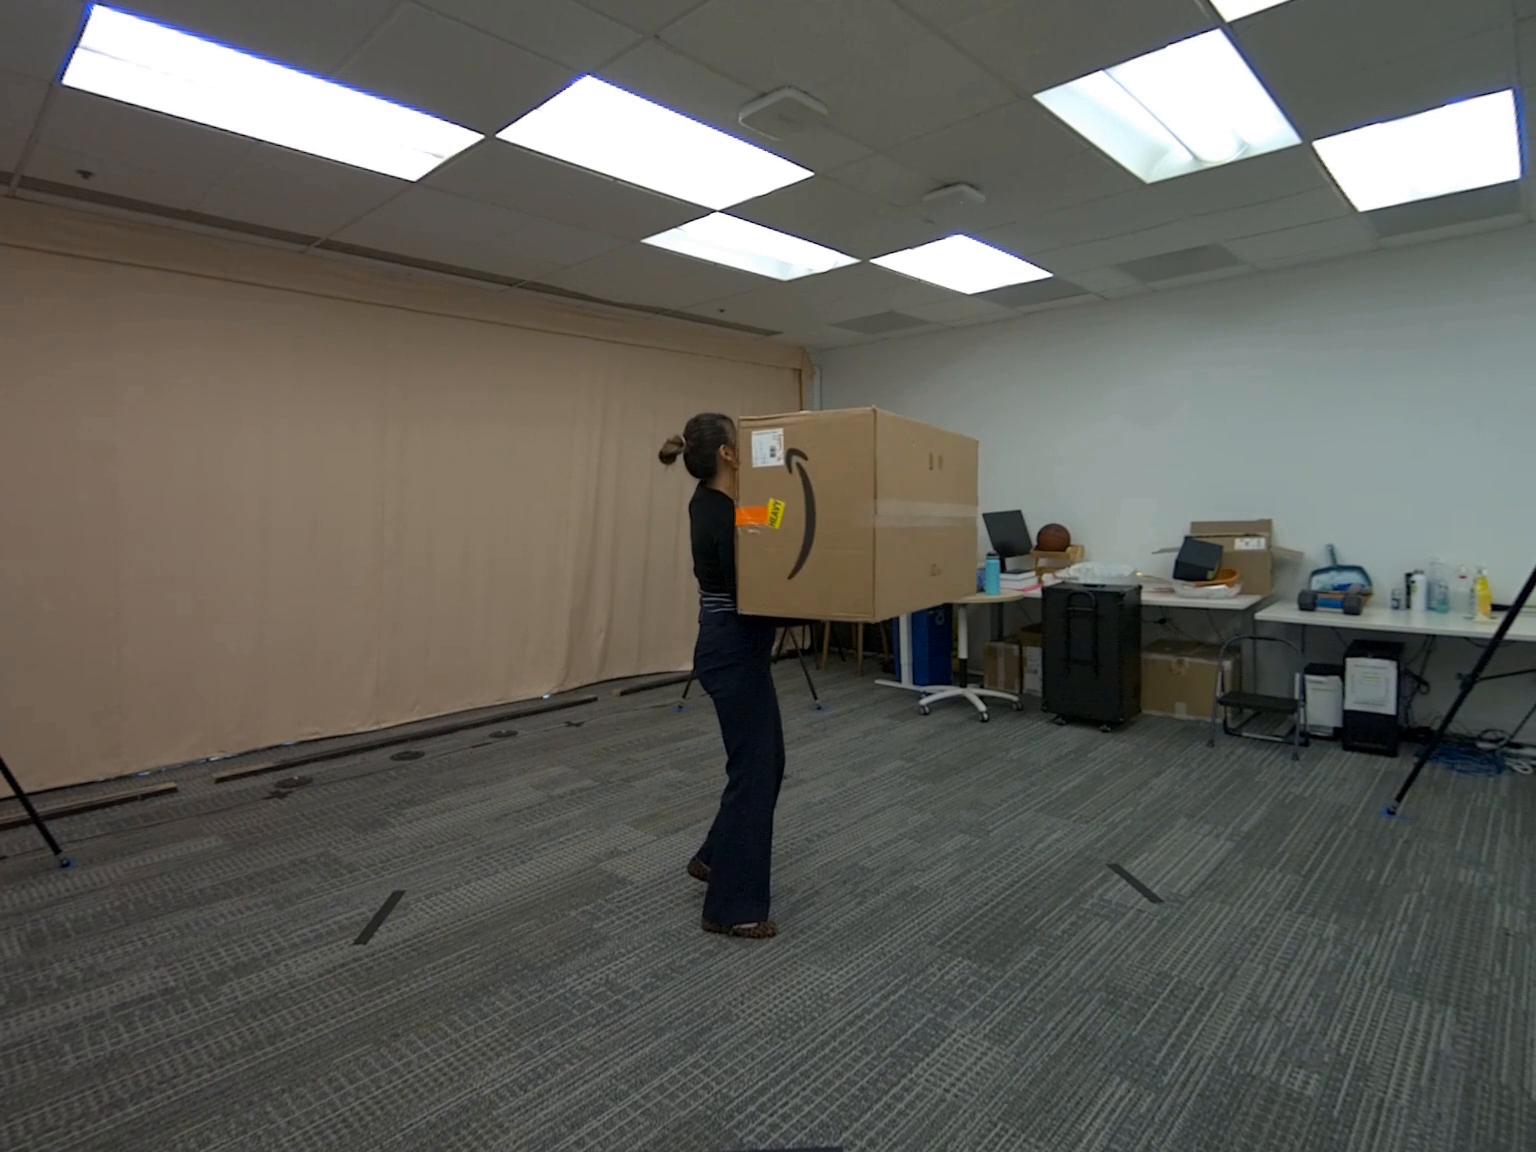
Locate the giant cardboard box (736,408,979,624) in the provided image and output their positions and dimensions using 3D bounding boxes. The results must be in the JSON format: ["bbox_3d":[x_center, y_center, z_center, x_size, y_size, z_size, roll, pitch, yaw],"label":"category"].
[{"bbox_3d":[0.343,-0.199,2.768,0.438,0.576,0.998,1,3,29],"label":"giant cardboard box"}]
